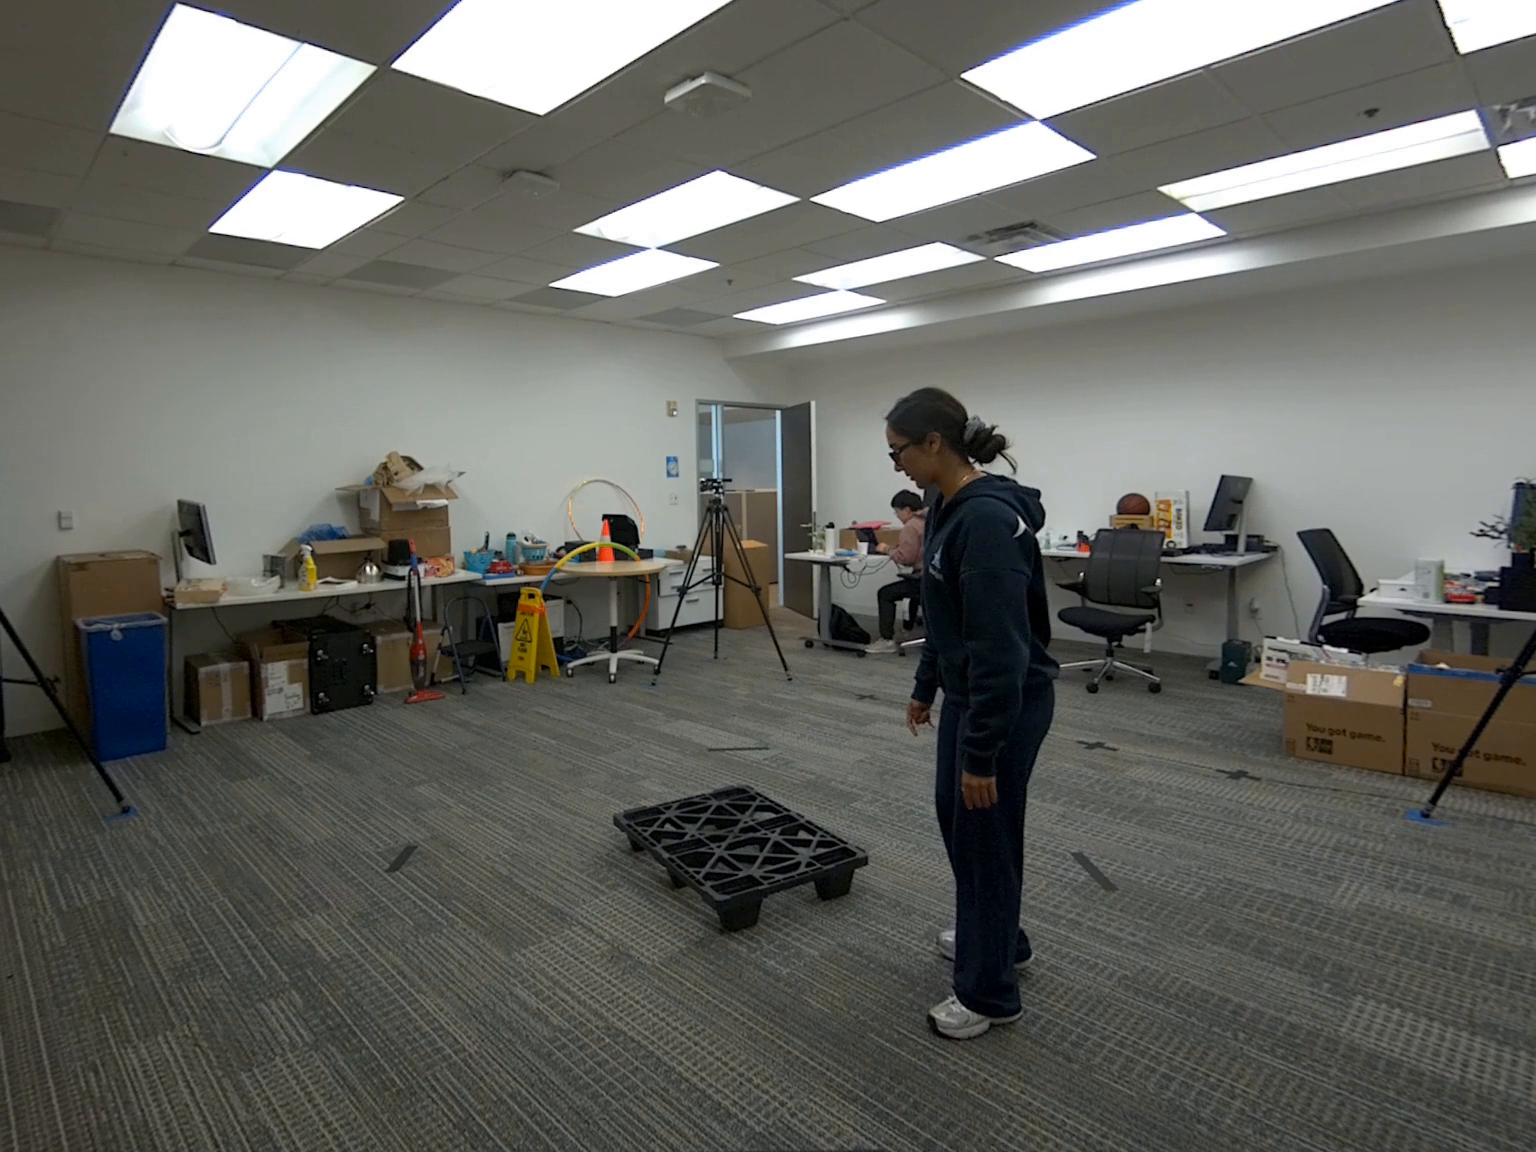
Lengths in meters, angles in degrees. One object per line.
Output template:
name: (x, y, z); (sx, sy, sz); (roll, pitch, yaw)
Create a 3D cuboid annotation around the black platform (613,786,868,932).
black platform: (-0.121, 0.985, 3.053); (0.591, 0.142, 0.829); (-6, 8, -32)
